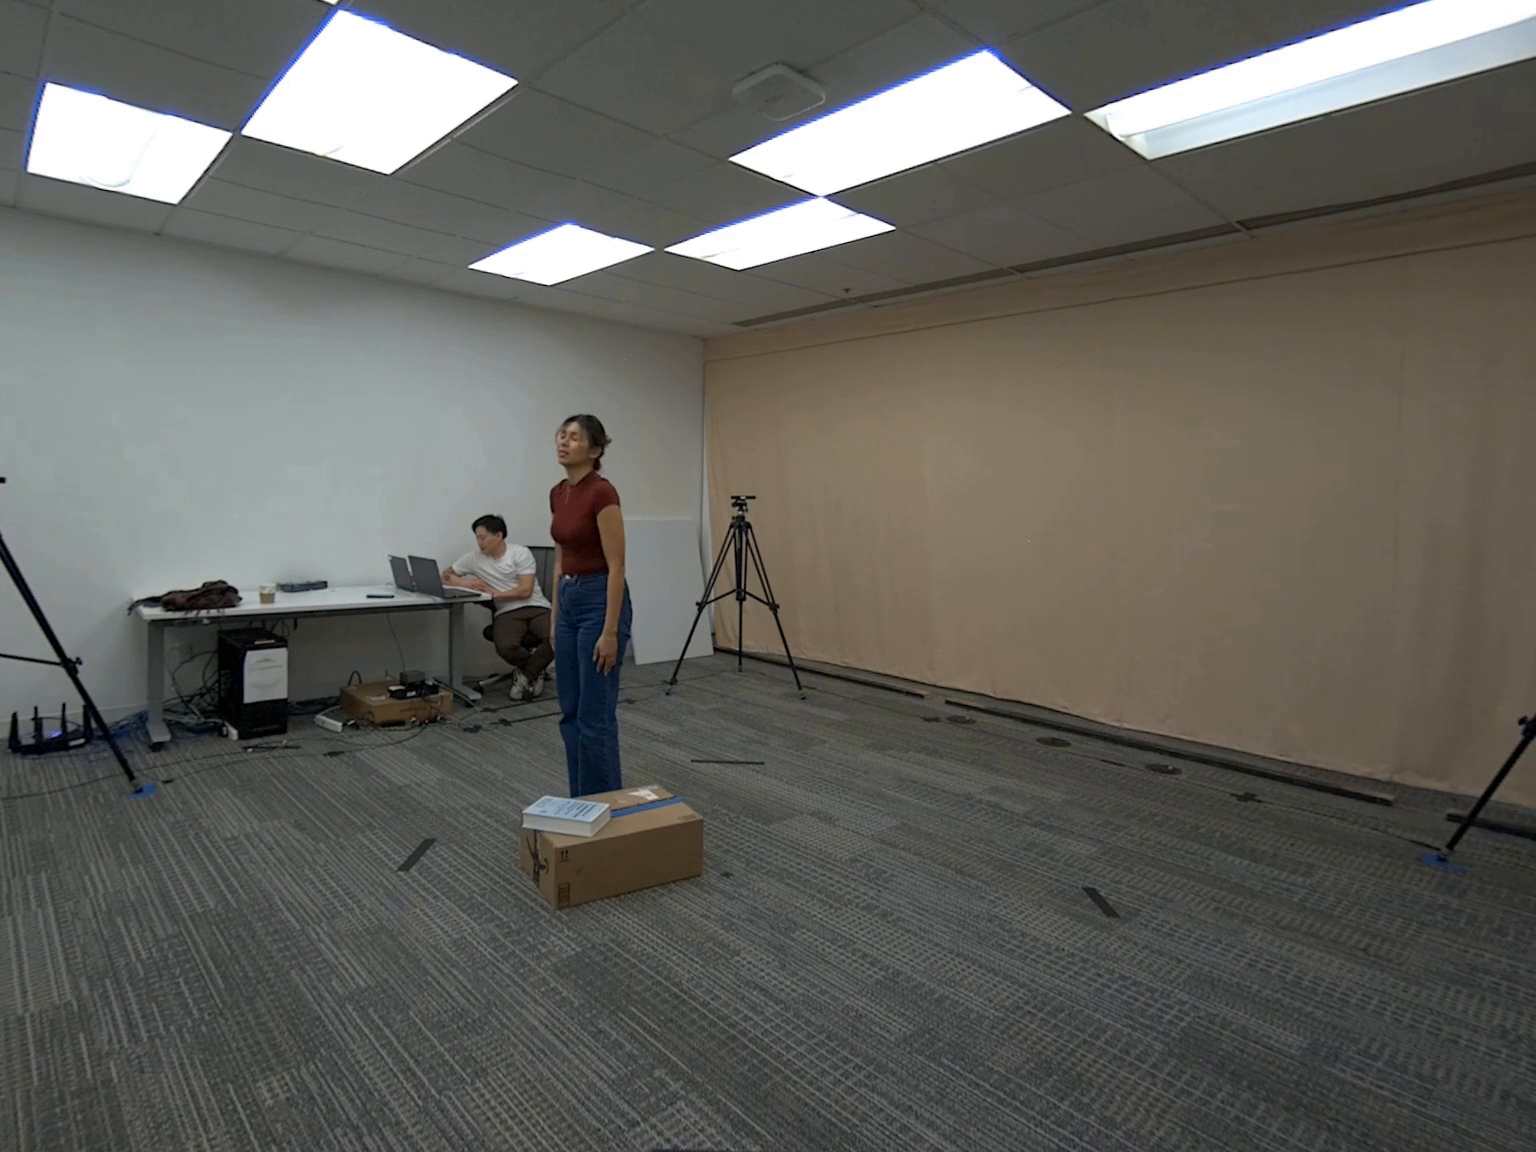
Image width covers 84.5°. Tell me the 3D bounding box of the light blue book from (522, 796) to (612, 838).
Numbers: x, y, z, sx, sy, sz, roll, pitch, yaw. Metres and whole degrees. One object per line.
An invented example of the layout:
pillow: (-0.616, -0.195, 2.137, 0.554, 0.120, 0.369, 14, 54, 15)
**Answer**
light blue book: (-0.726, 0.857, 3.002, 0.264, 0.059, 0.190, 4, 4, 12)
